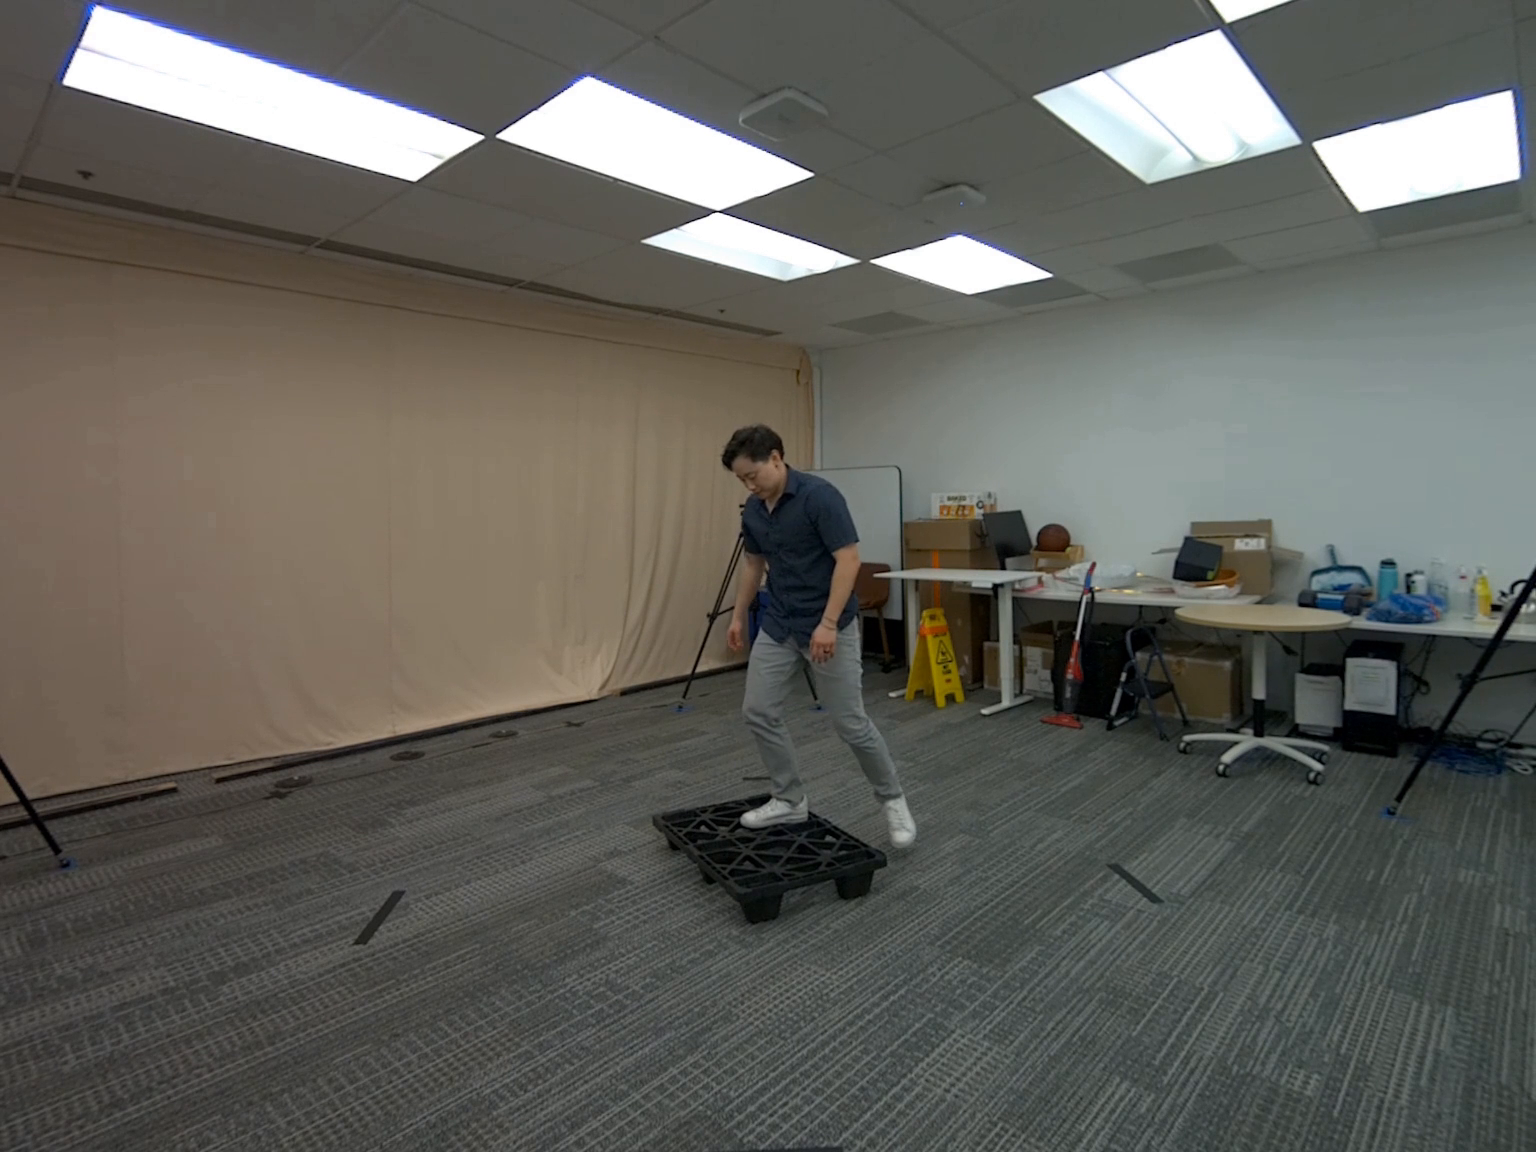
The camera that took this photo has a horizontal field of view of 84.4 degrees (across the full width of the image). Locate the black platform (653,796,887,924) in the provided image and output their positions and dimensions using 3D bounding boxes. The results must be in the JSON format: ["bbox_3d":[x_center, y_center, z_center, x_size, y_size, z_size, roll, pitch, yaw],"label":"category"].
[{"bbox_3d":[-0.019,1.052,3.216,0.590,0.143,0.827,-3,5,-27],"label":"black platform"}]
